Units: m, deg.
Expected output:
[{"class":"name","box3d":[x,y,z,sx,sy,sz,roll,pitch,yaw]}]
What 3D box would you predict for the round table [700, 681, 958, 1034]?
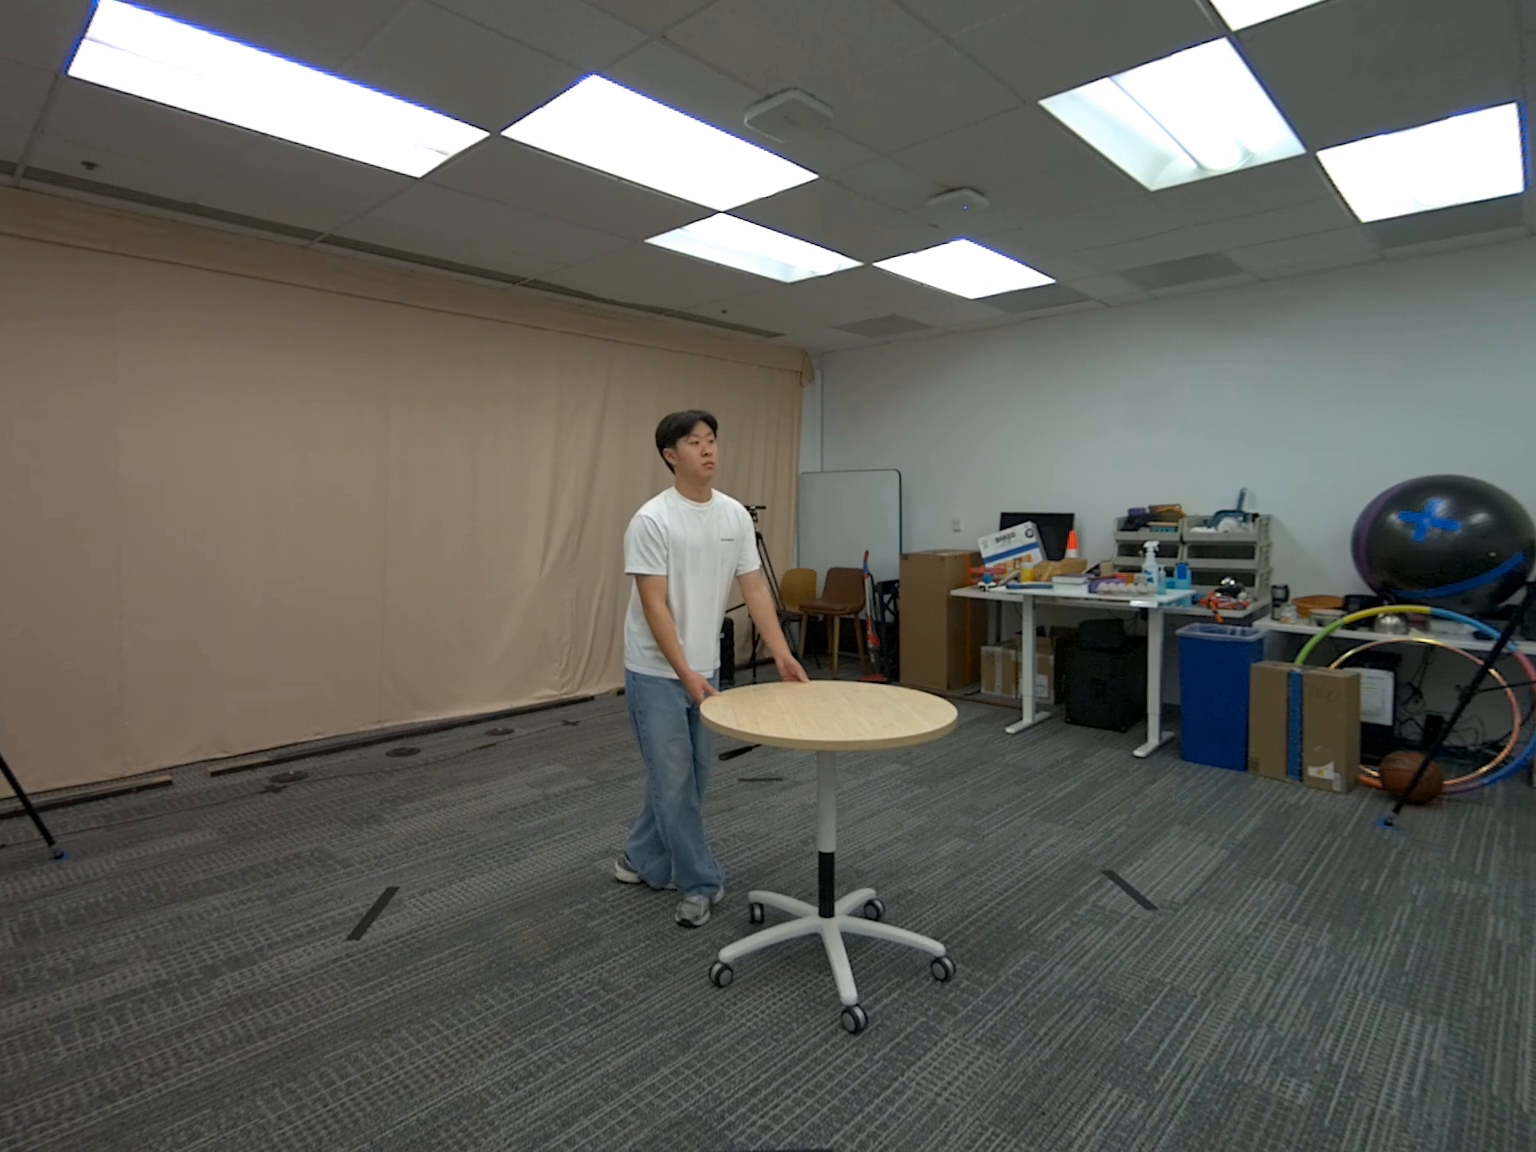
[{"class":"round table","box3d":[0.183,0.788,2.564,0.763,0.792,0.766,-1,4,-2]}]
